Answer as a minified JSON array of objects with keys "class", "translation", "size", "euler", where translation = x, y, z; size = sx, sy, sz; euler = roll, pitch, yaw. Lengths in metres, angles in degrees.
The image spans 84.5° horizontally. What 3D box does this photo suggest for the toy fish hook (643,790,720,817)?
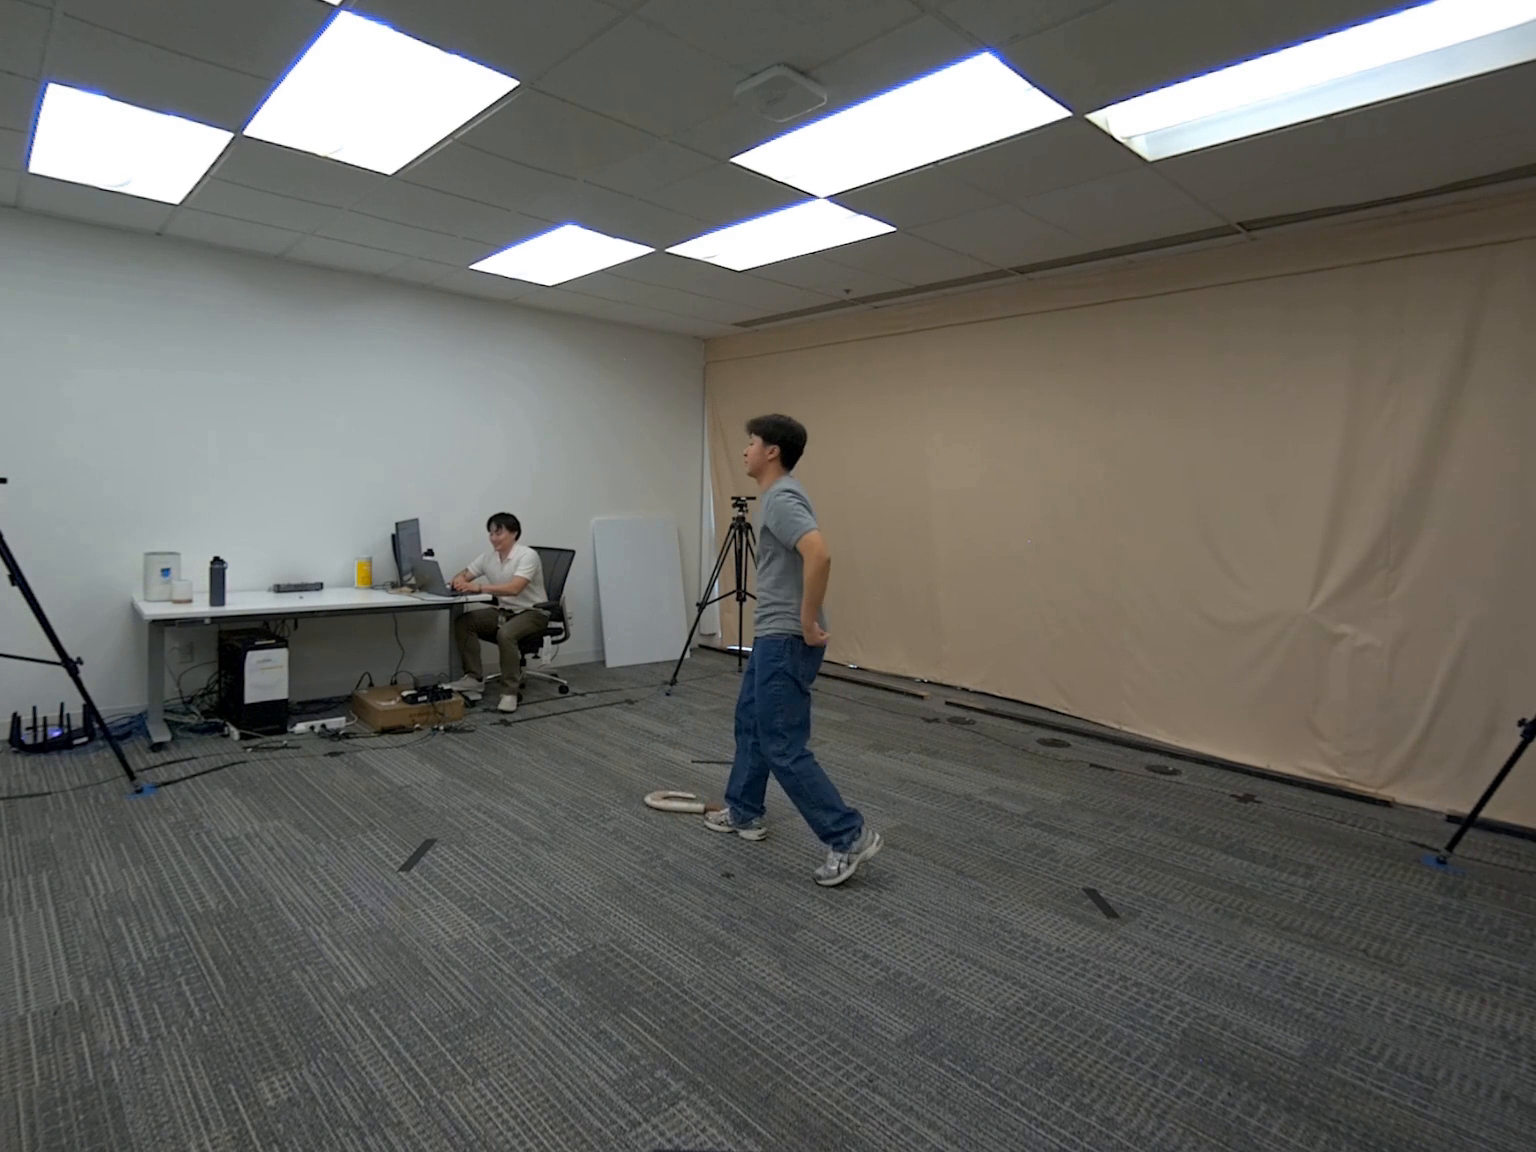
[{"class":"toy fish hook","translation":[-0.317,1.020,3.777],"size":[0.516,0.048,0.221],"euler":[4,6,23]}]
